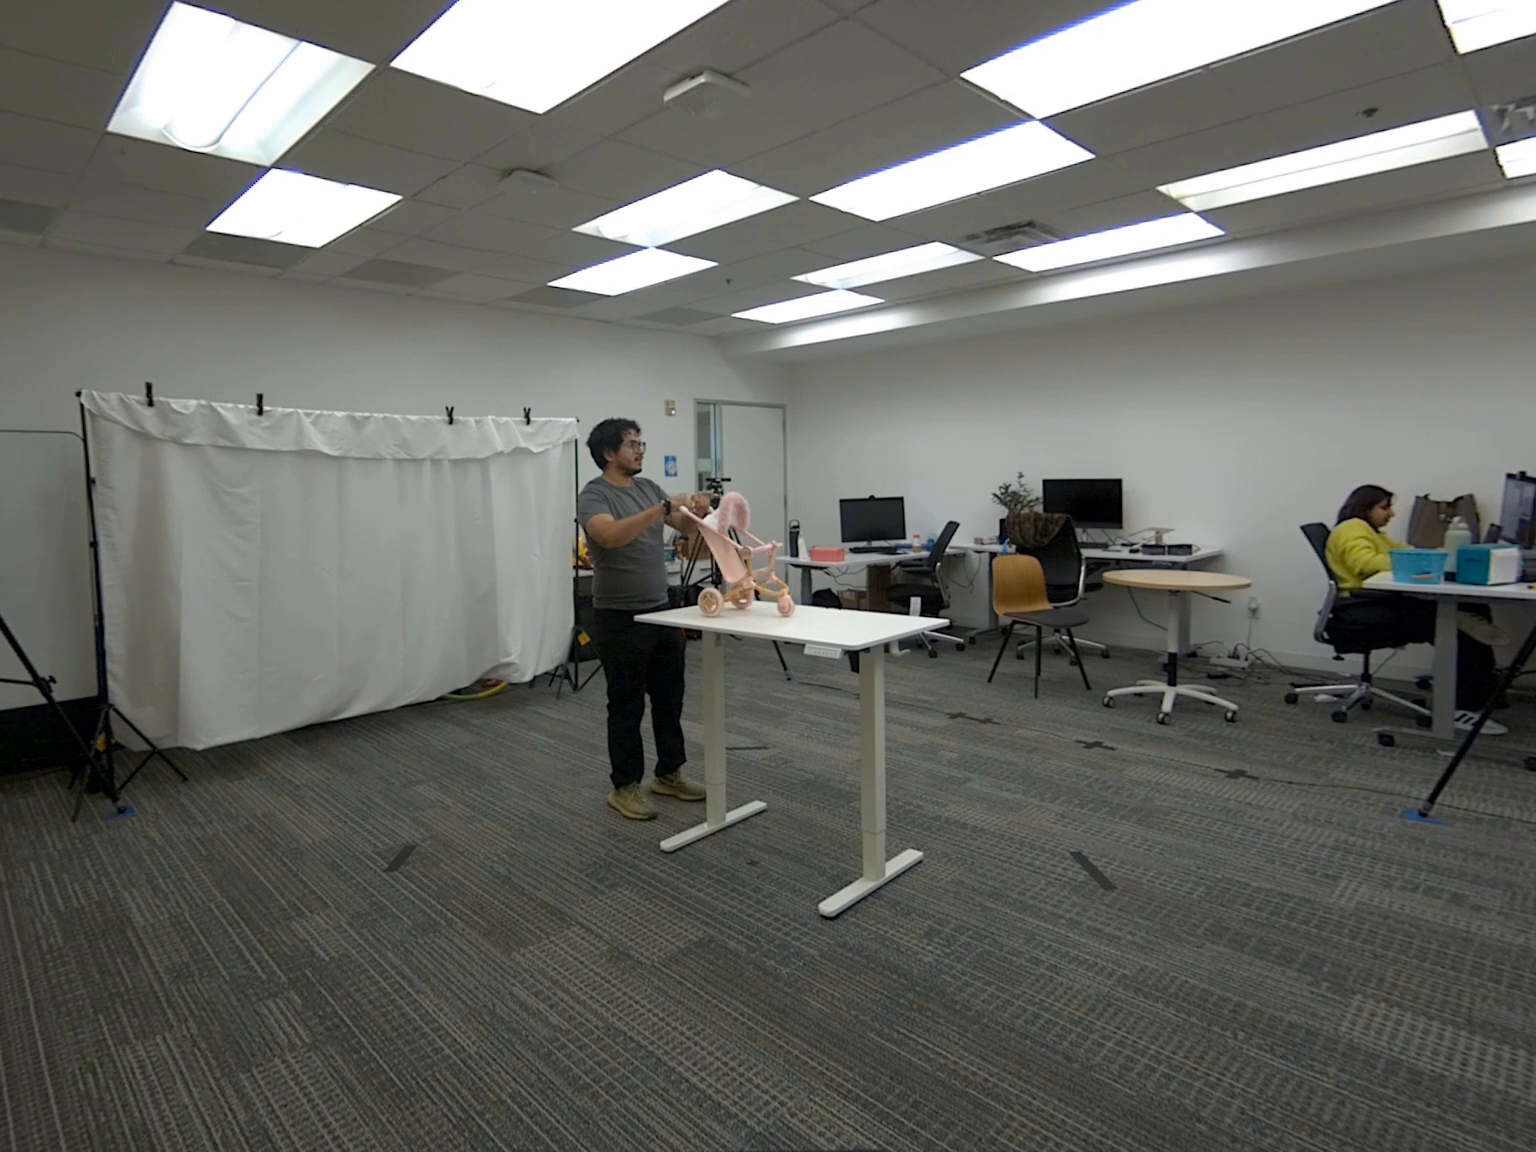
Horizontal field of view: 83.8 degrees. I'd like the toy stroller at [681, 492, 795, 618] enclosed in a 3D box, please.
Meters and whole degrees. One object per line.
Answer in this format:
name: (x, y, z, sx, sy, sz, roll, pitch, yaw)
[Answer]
toy stroller: (-0.103, -0.078, 3.244, 0.347, 0.538, 0.275, -16, -5, 32)
